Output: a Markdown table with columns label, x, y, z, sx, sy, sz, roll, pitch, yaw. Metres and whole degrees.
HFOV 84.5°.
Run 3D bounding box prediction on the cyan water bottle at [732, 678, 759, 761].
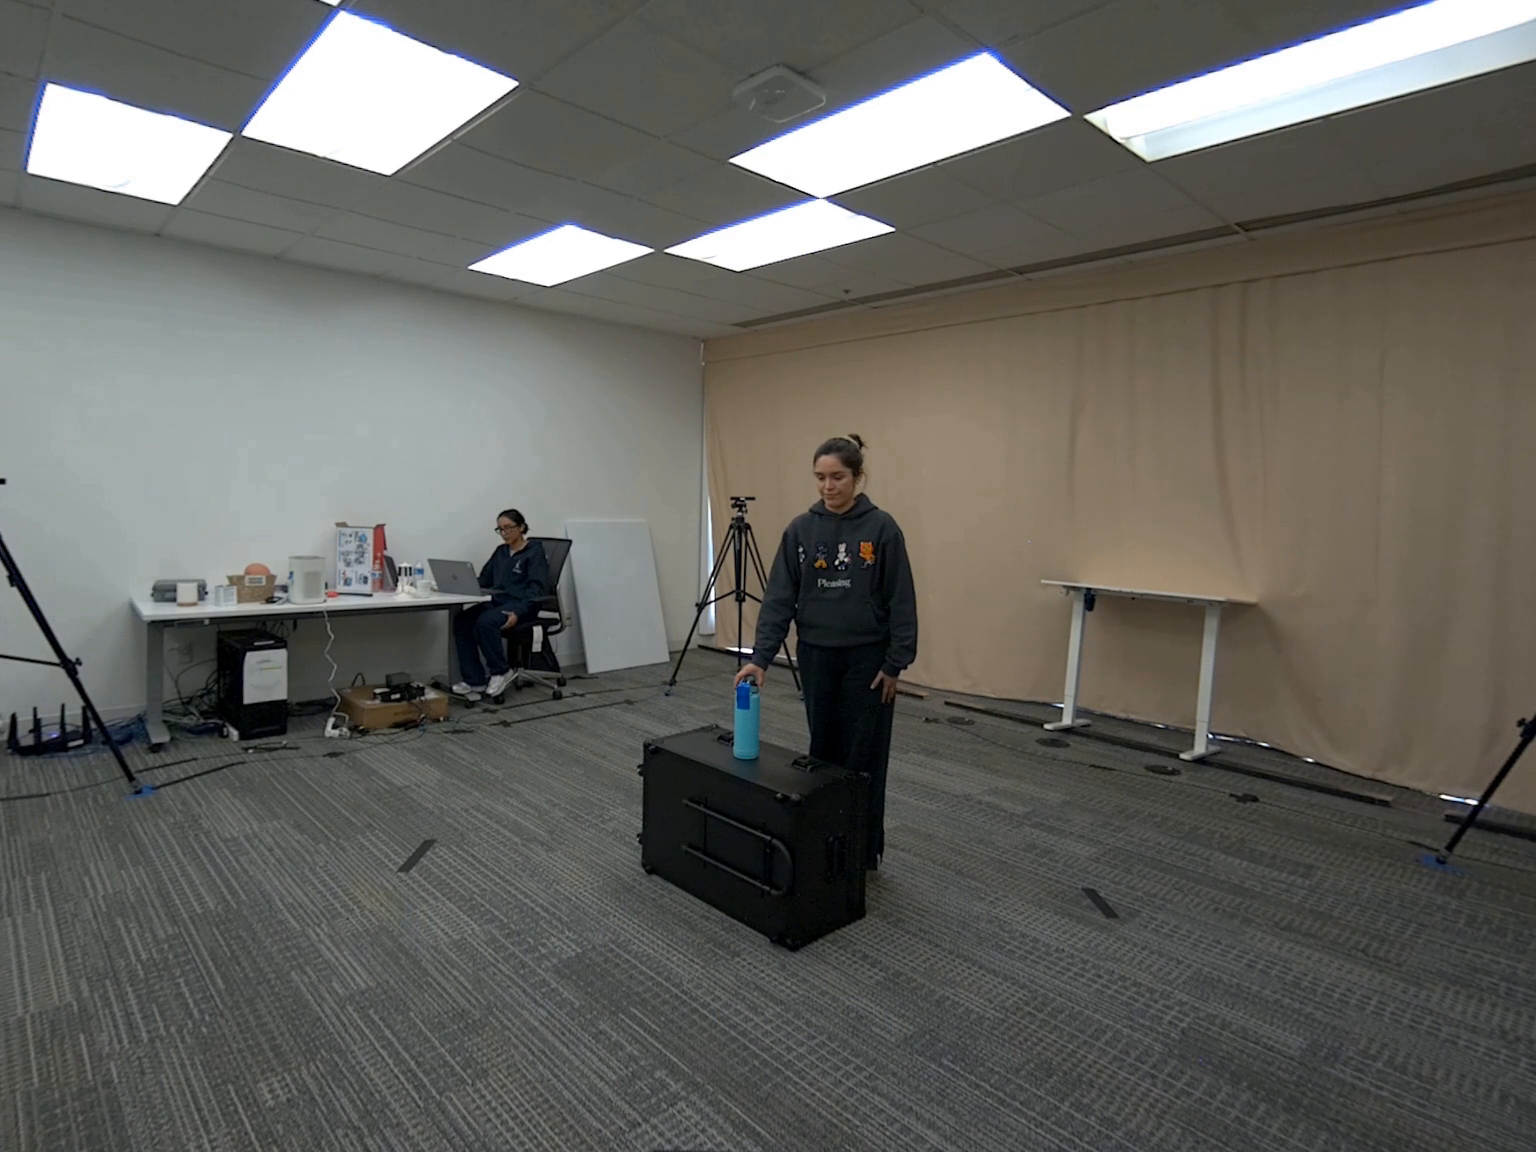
| label | x | y | z | sx | sy | sz | roll | pitch | yaw |
| --- | --- | --- | --- | --- | --- | --- | --- | --- | --- |
| cyan water bottle | -0.084 | 0.504 | 2.980 | 0.092 | 0.282 | 0.093 | 2 | 7 | -2 |
